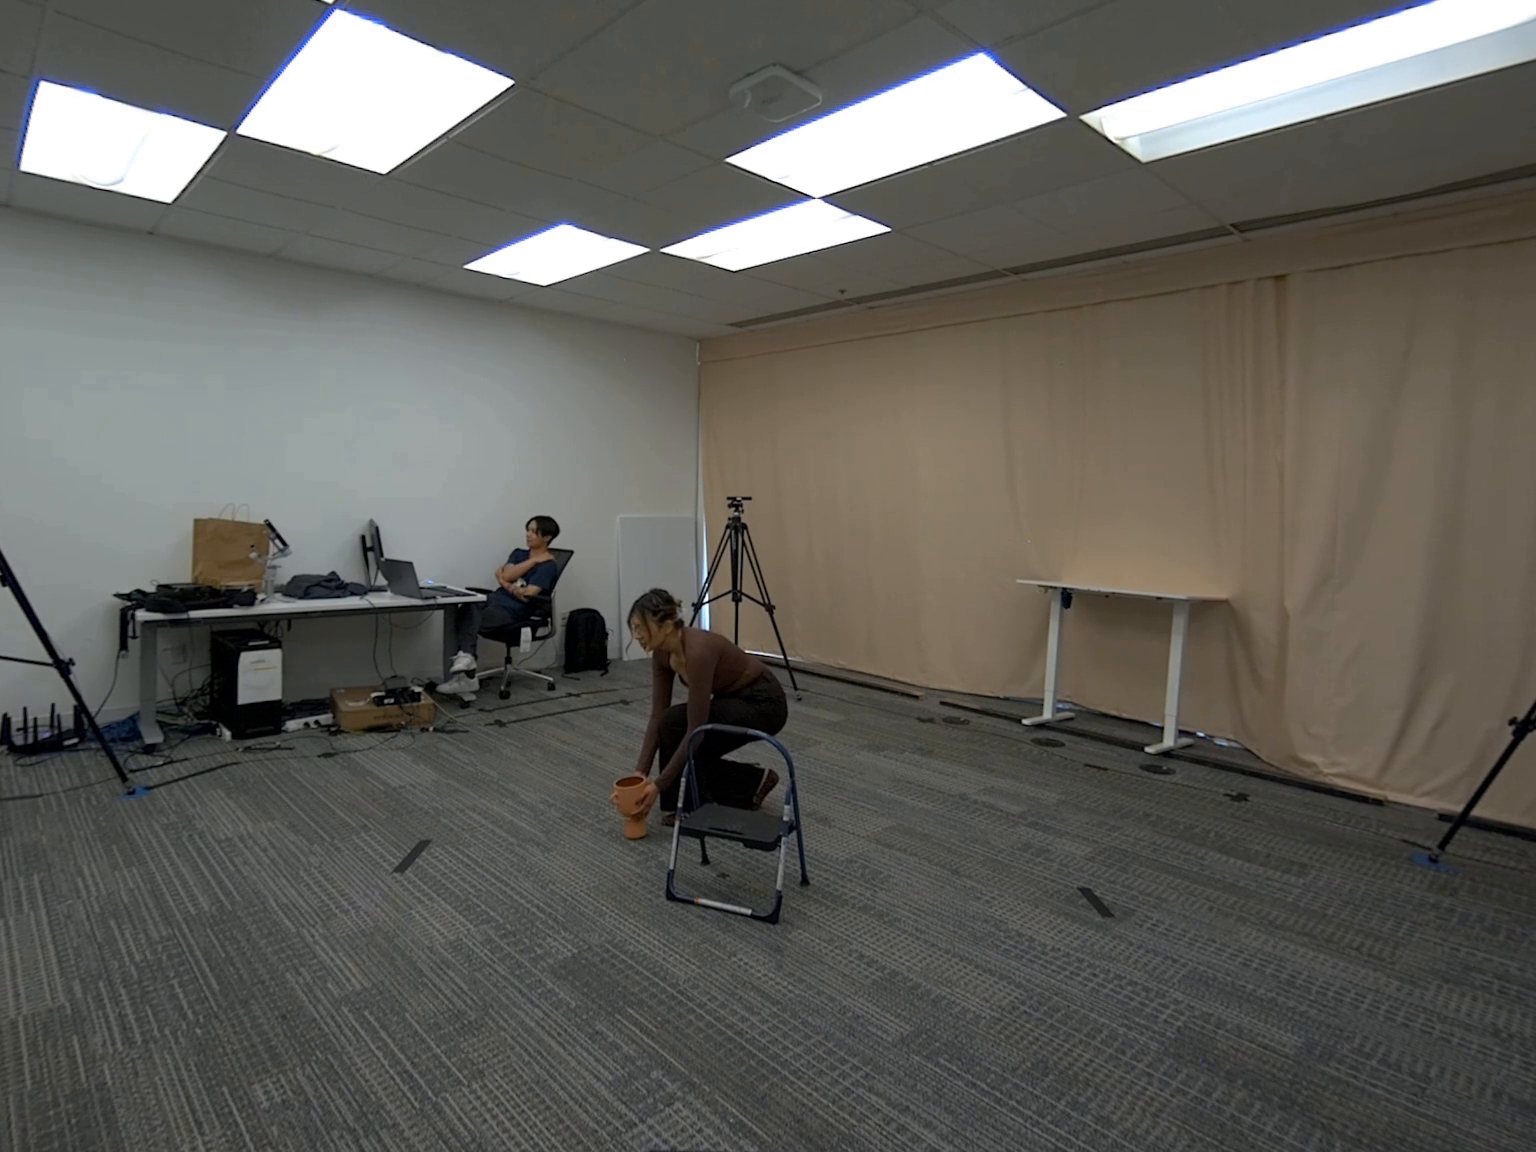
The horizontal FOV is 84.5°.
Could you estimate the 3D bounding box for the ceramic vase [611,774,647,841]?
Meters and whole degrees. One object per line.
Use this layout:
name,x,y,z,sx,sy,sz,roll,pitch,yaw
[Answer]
ceramic vase,-0.561,0.940,3.437,0.158,0.219,0.136,-6,6,-8
